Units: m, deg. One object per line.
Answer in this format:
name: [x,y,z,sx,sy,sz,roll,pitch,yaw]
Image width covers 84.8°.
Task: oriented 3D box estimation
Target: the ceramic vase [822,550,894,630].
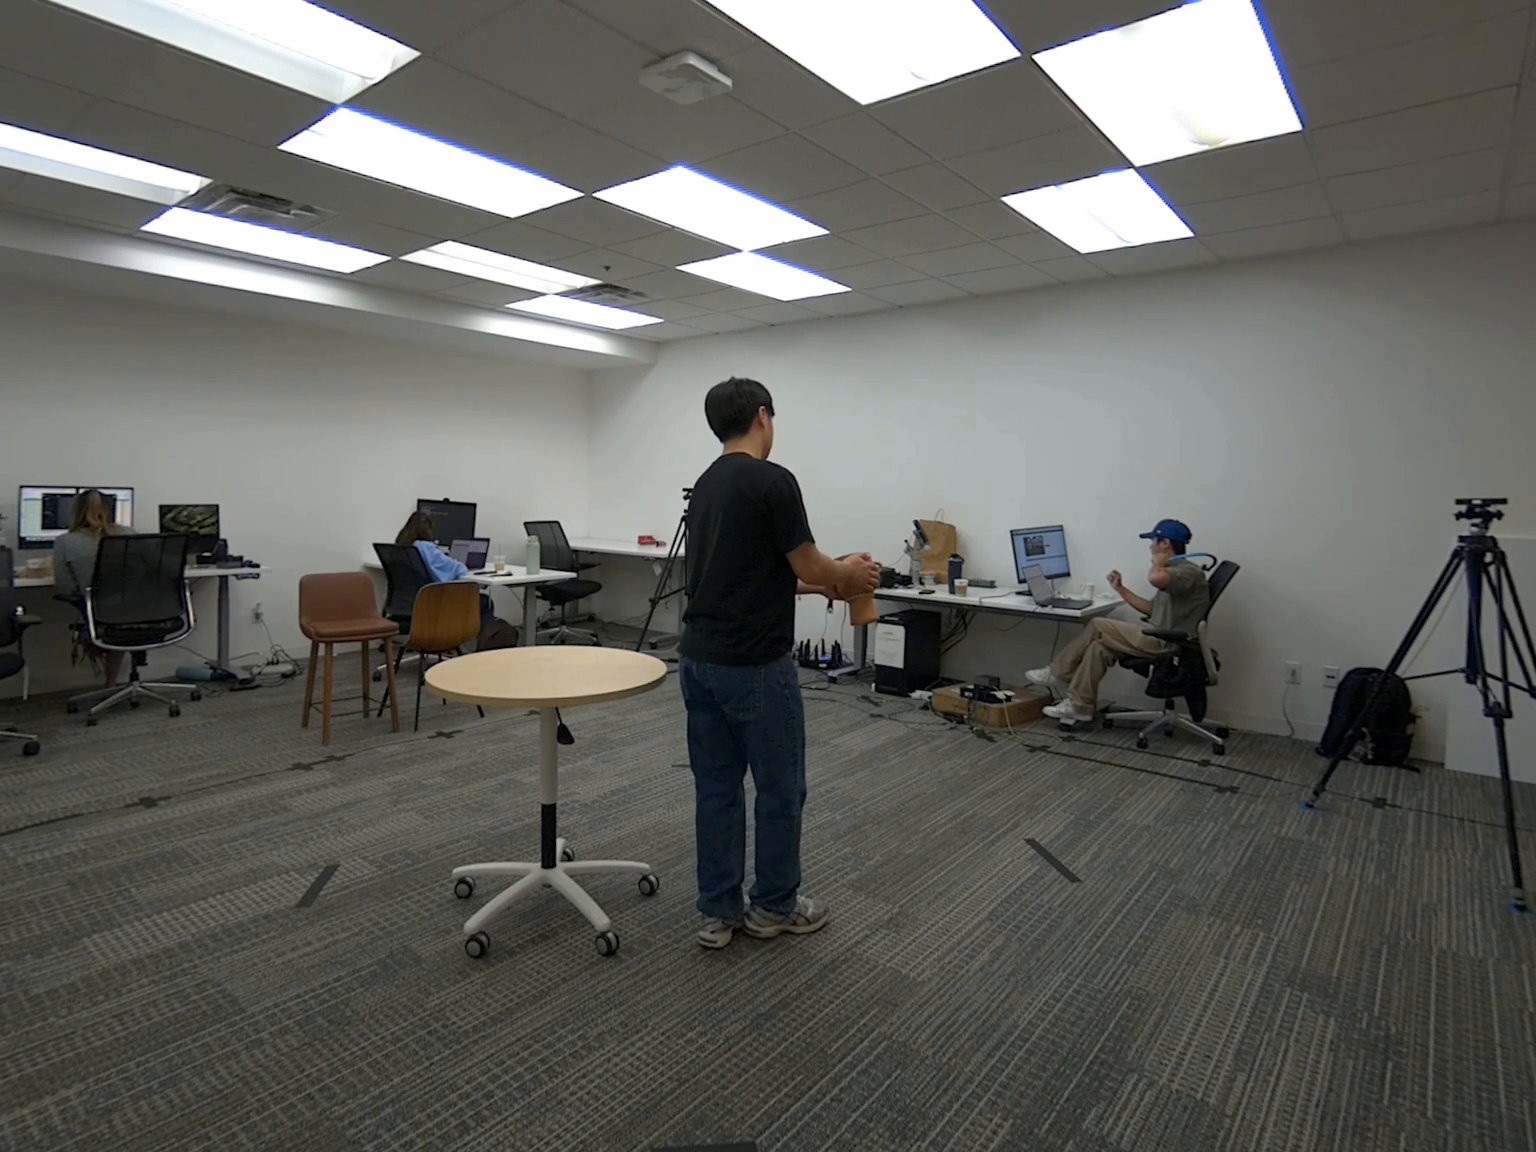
ceramic vase: [0.287,0.049,2.777,0.162,0.223,0.130,-20,-17,33]
